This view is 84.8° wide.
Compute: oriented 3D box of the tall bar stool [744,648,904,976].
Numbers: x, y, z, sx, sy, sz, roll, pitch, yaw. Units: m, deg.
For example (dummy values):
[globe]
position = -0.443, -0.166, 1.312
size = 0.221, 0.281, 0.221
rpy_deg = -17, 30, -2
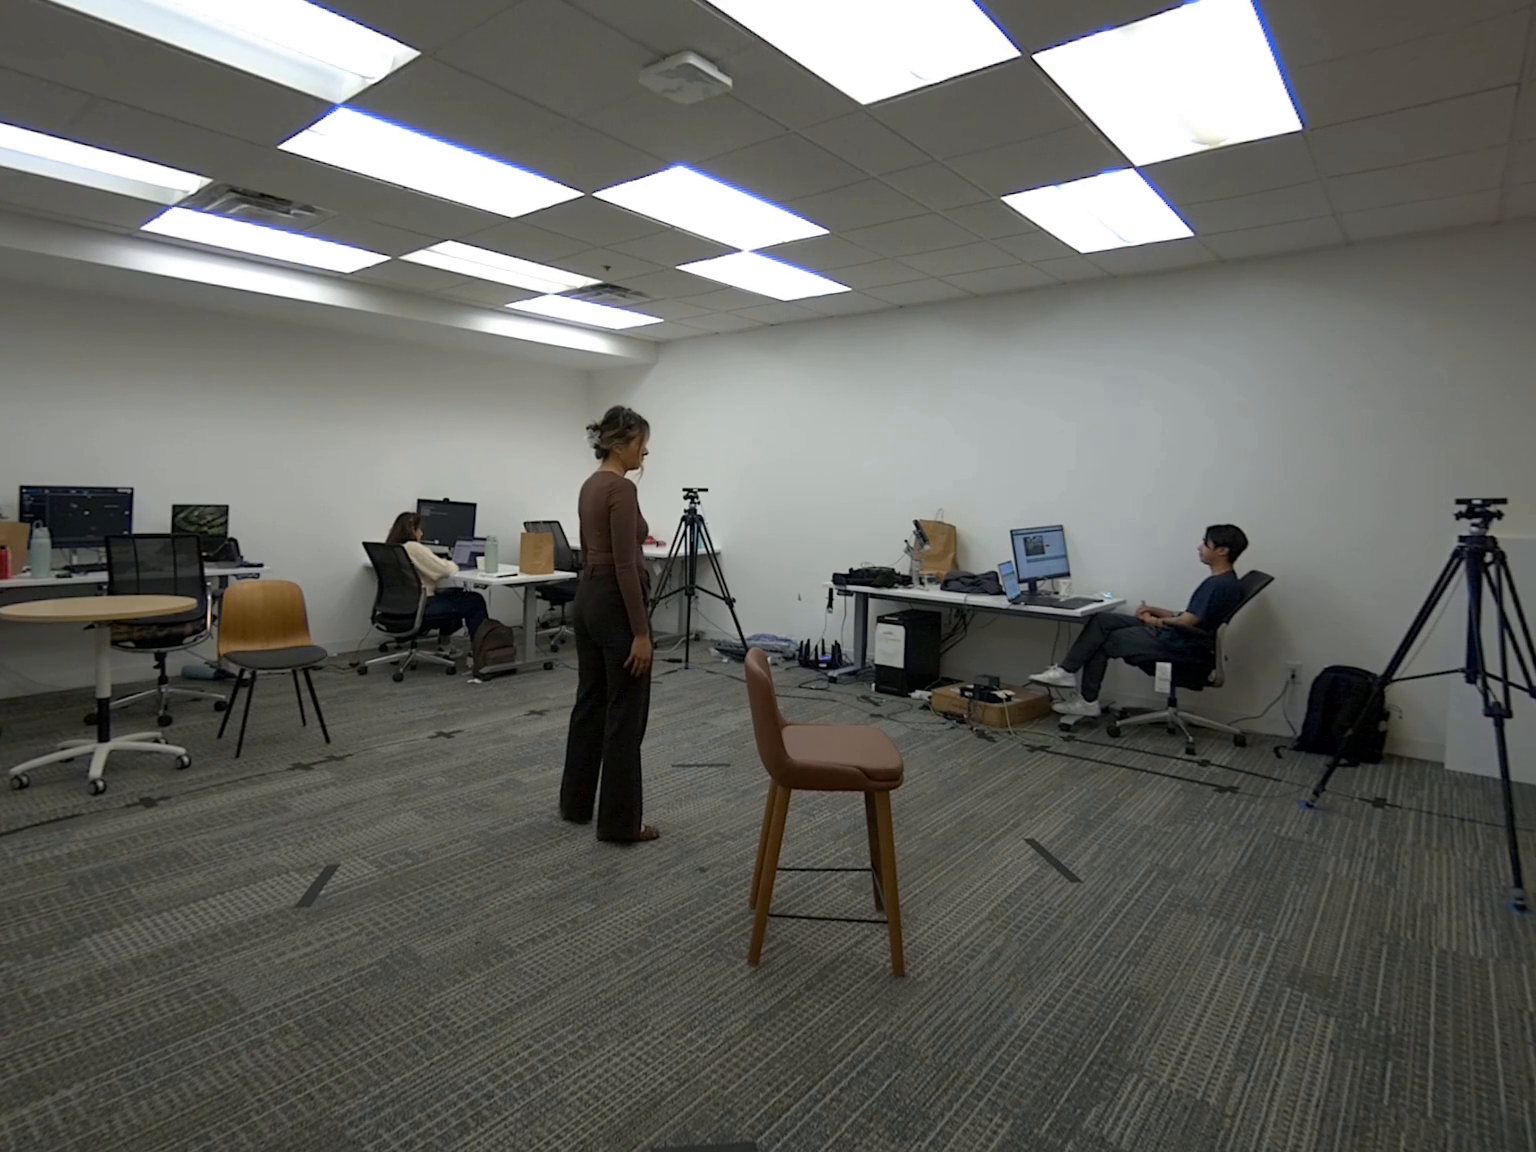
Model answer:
[tall bar stool]
position = 0.168, 0.690, 2.632
size = 0.469, 0.887, 0.457
rpy_deg = 0, 3, 1
